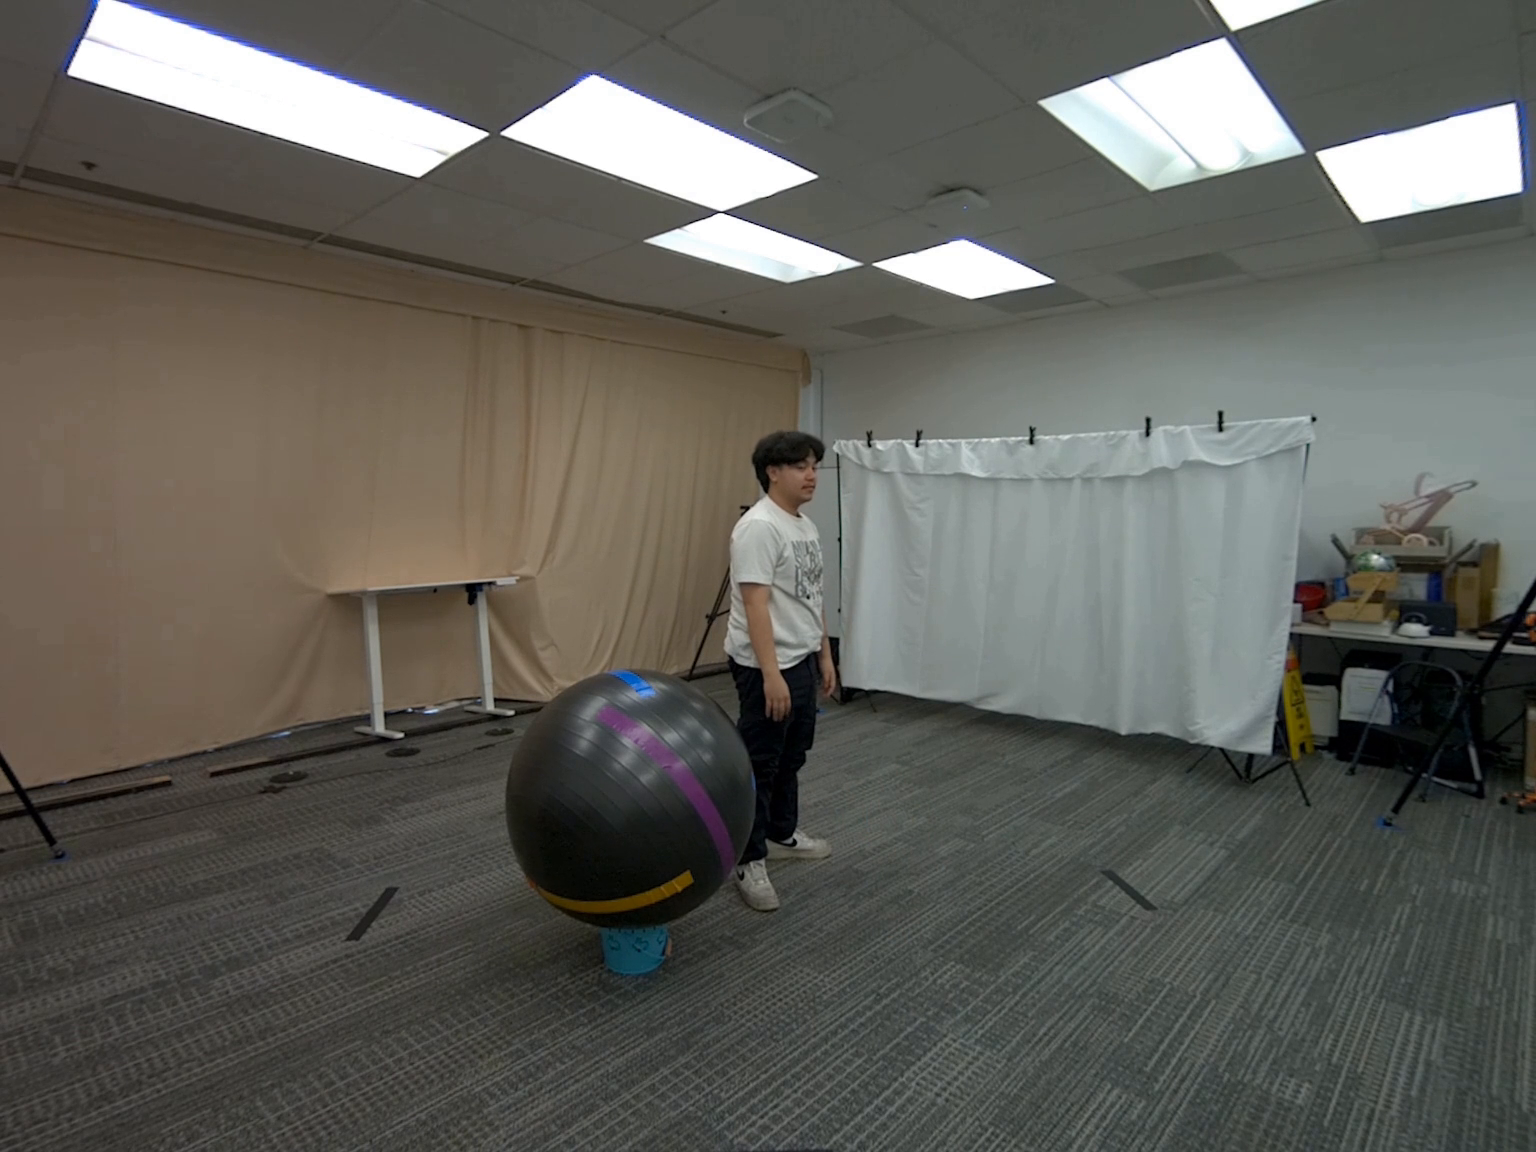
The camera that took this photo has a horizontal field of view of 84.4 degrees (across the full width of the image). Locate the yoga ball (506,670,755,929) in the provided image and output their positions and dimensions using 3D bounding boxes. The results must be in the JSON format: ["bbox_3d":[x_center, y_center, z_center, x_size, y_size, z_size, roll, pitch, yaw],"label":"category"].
[{"bbox_3d":[-0.420,0.672,2.580,0.757,0.756,0.760,0,4,-2],"label":"yoga ball"}]
